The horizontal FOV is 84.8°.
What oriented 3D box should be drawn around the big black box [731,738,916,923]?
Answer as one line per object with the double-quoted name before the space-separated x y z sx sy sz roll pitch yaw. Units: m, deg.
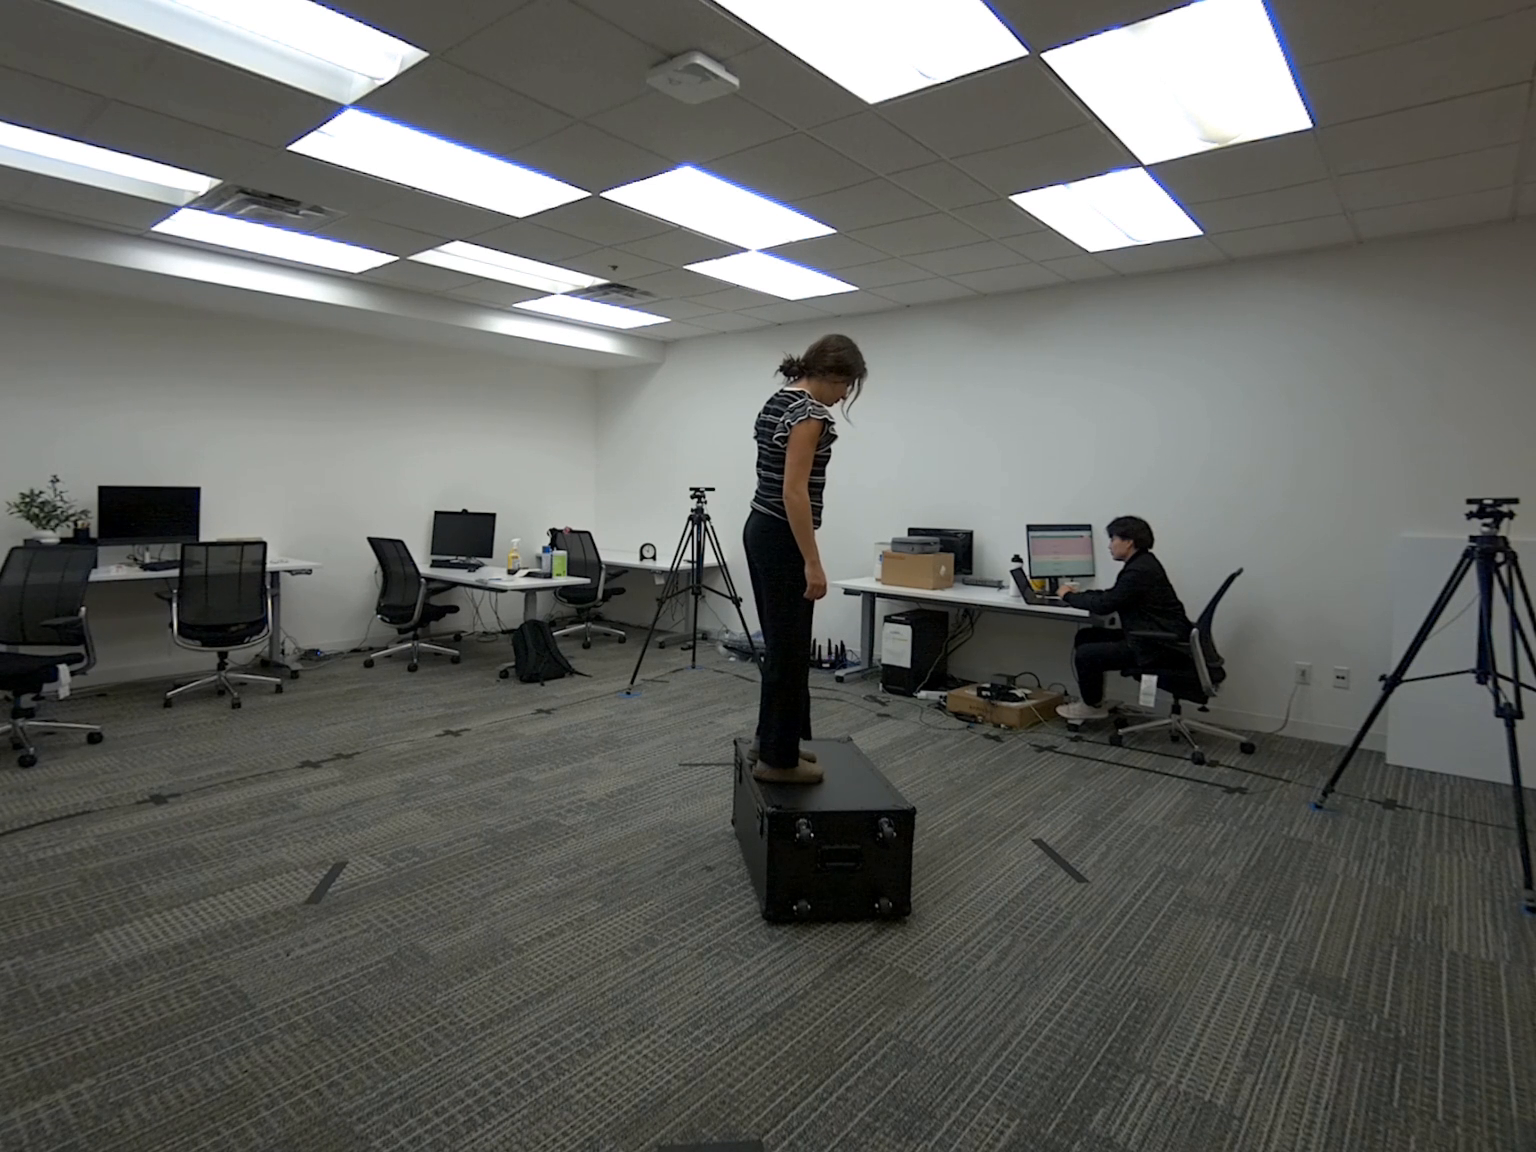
"big black box" 0.161 0.887 3.065 0.516 0.395 0.873 0 5 -10
